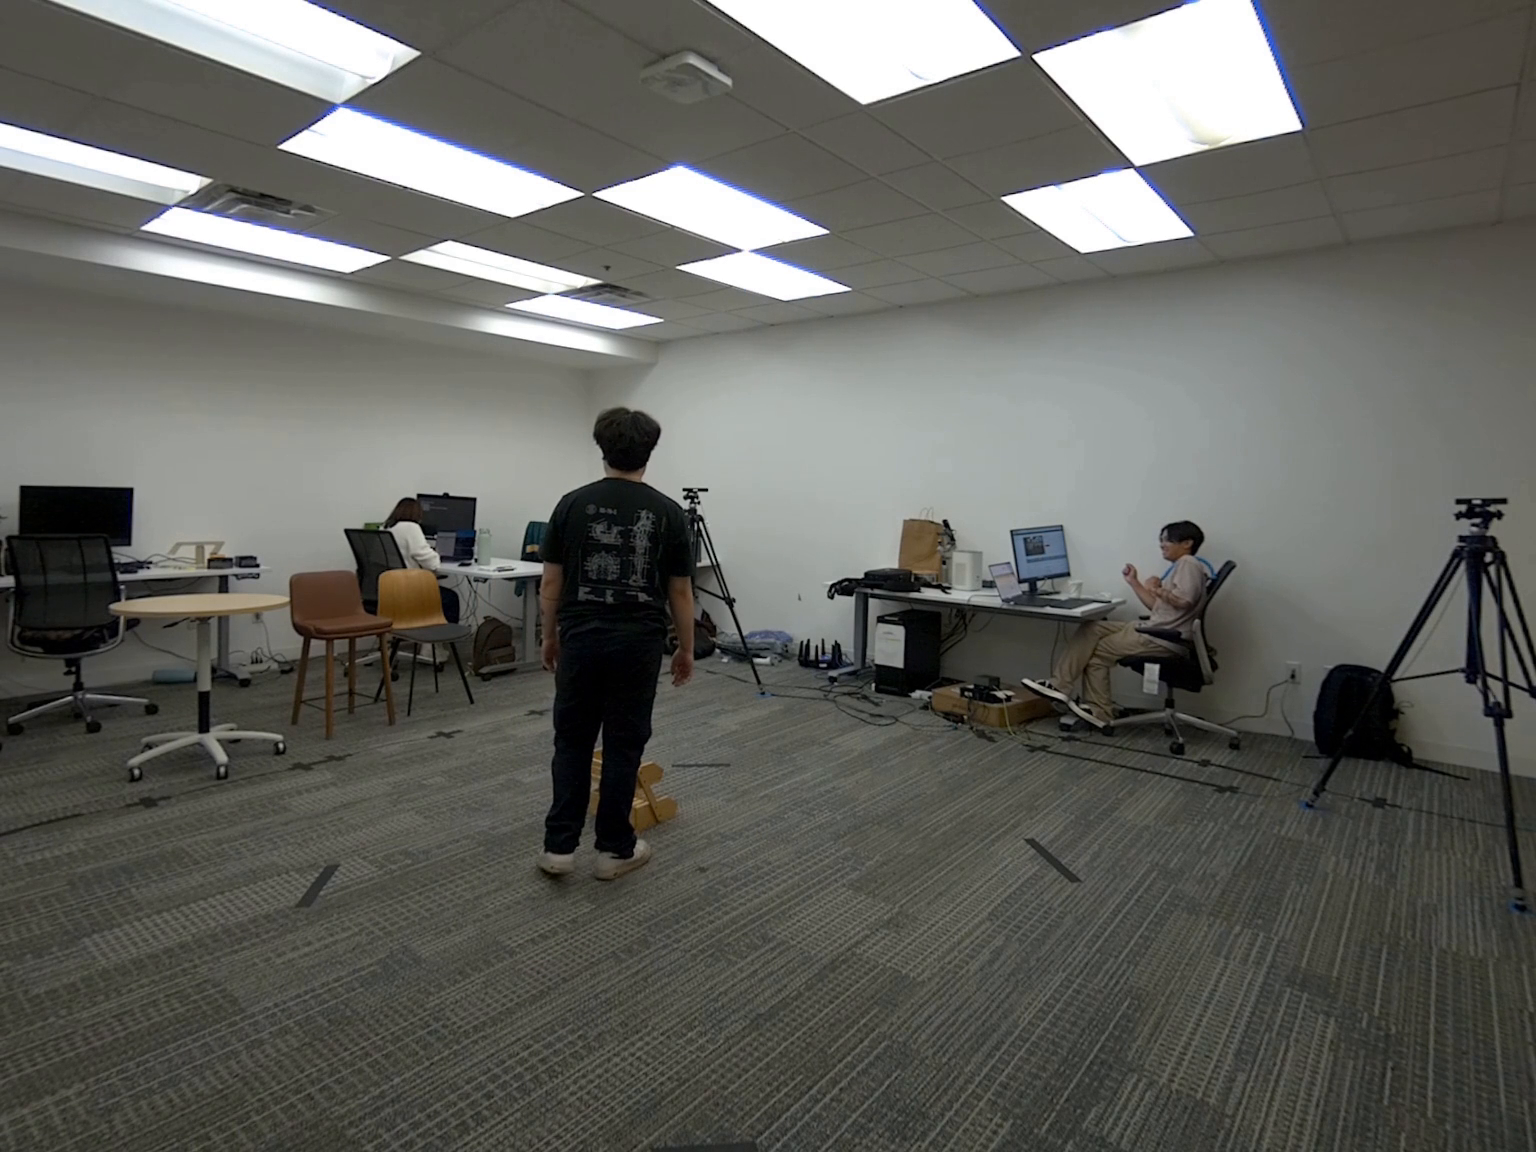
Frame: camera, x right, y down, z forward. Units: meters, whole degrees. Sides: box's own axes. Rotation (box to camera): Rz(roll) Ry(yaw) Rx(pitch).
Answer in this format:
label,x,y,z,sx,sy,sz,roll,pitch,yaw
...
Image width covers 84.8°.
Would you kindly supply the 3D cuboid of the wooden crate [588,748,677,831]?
label,x,y,z,sx,sy,sz,roll,pitch,yaw
wooden crate,-0.603,0.882,3.619,0.335,0.272,0.293,5,6,39
